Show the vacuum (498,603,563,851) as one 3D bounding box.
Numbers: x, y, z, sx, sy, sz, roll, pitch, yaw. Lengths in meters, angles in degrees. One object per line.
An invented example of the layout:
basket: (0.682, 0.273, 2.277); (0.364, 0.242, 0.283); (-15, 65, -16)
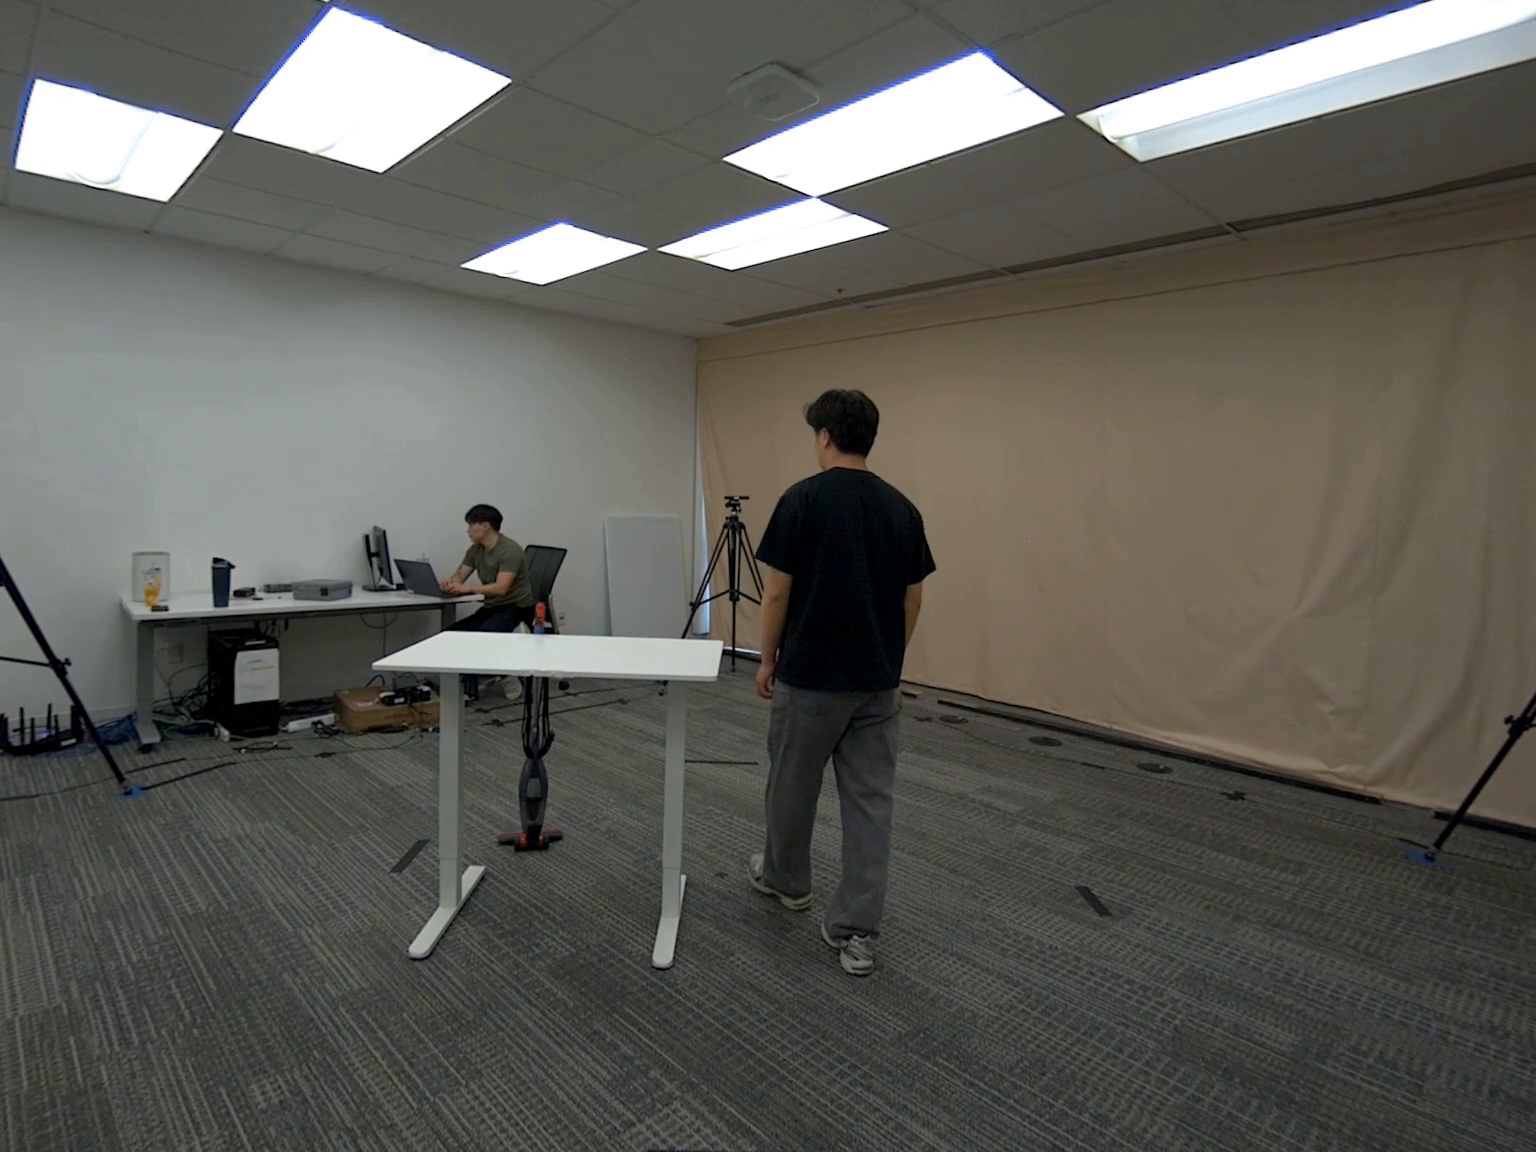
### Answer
vacuum: (-0.881, 0.592, 3.150); (0.249, 1.036, 0.148); (0, 22, -19)
